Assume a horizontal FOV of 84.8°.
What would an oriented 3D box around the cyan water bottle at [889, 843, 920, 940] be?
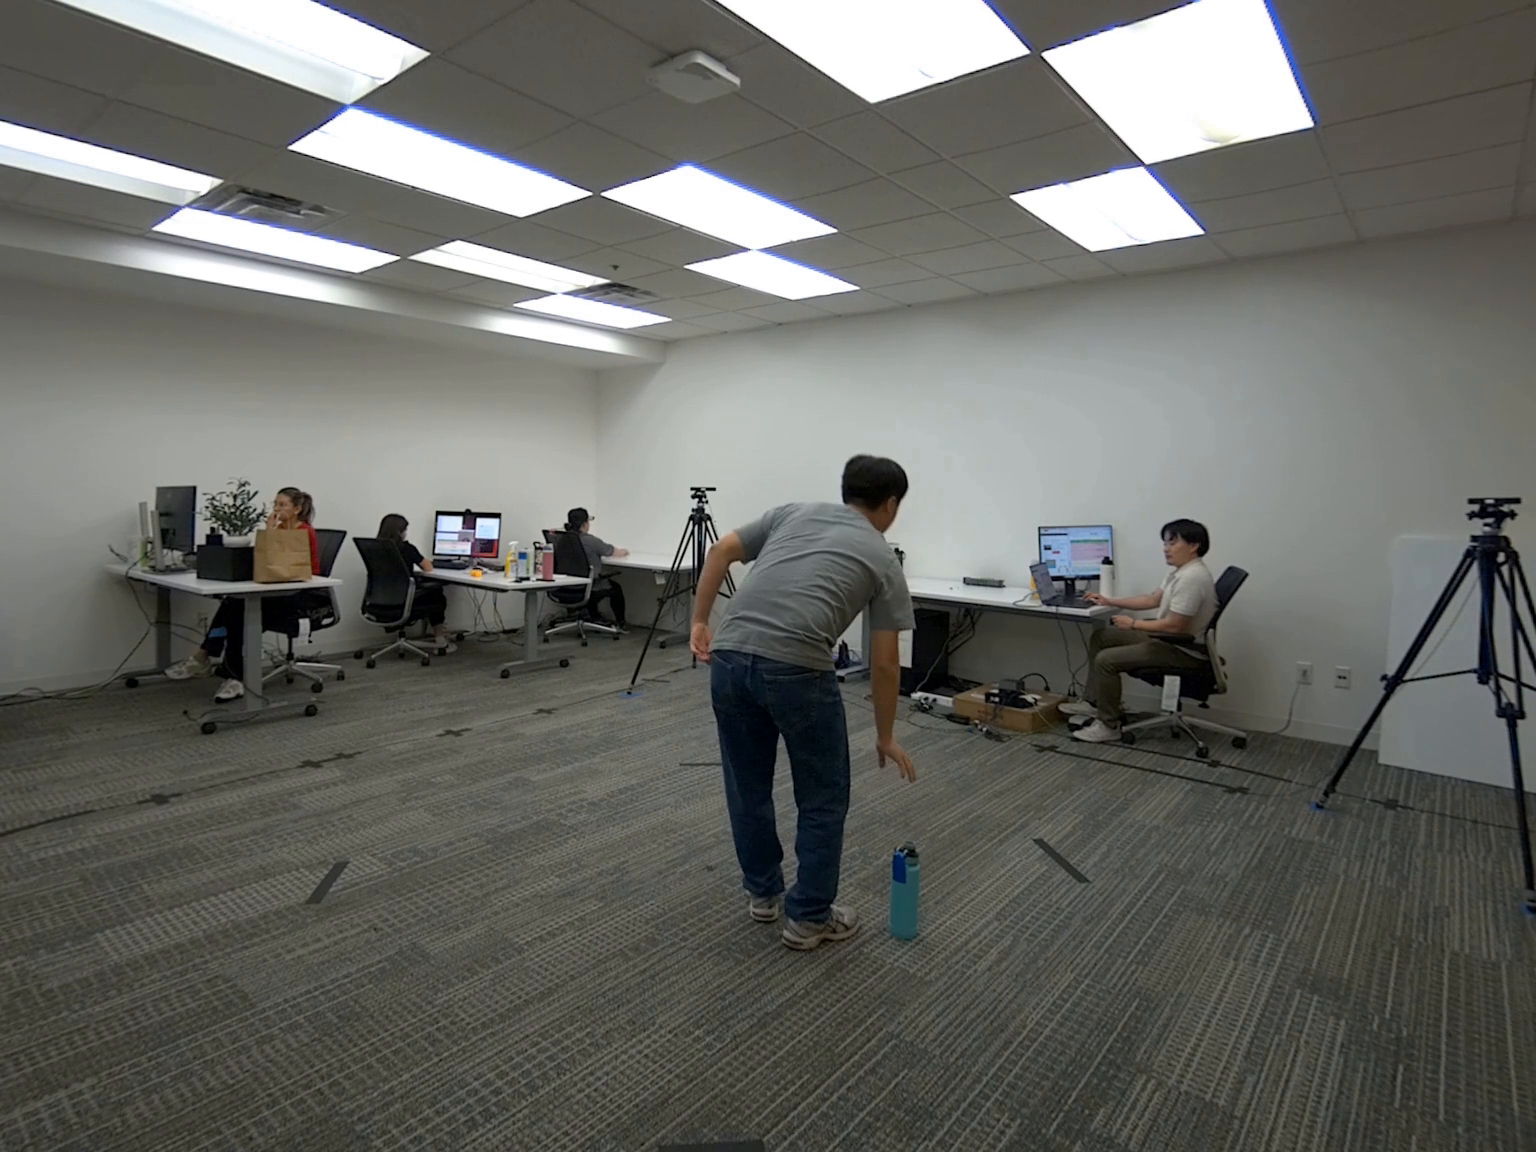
[{"bbox_3d":[0.428,0.987,2.679,0.092,0.282,0.093,0,4,-2],"label":"cyan water bottle"}]
